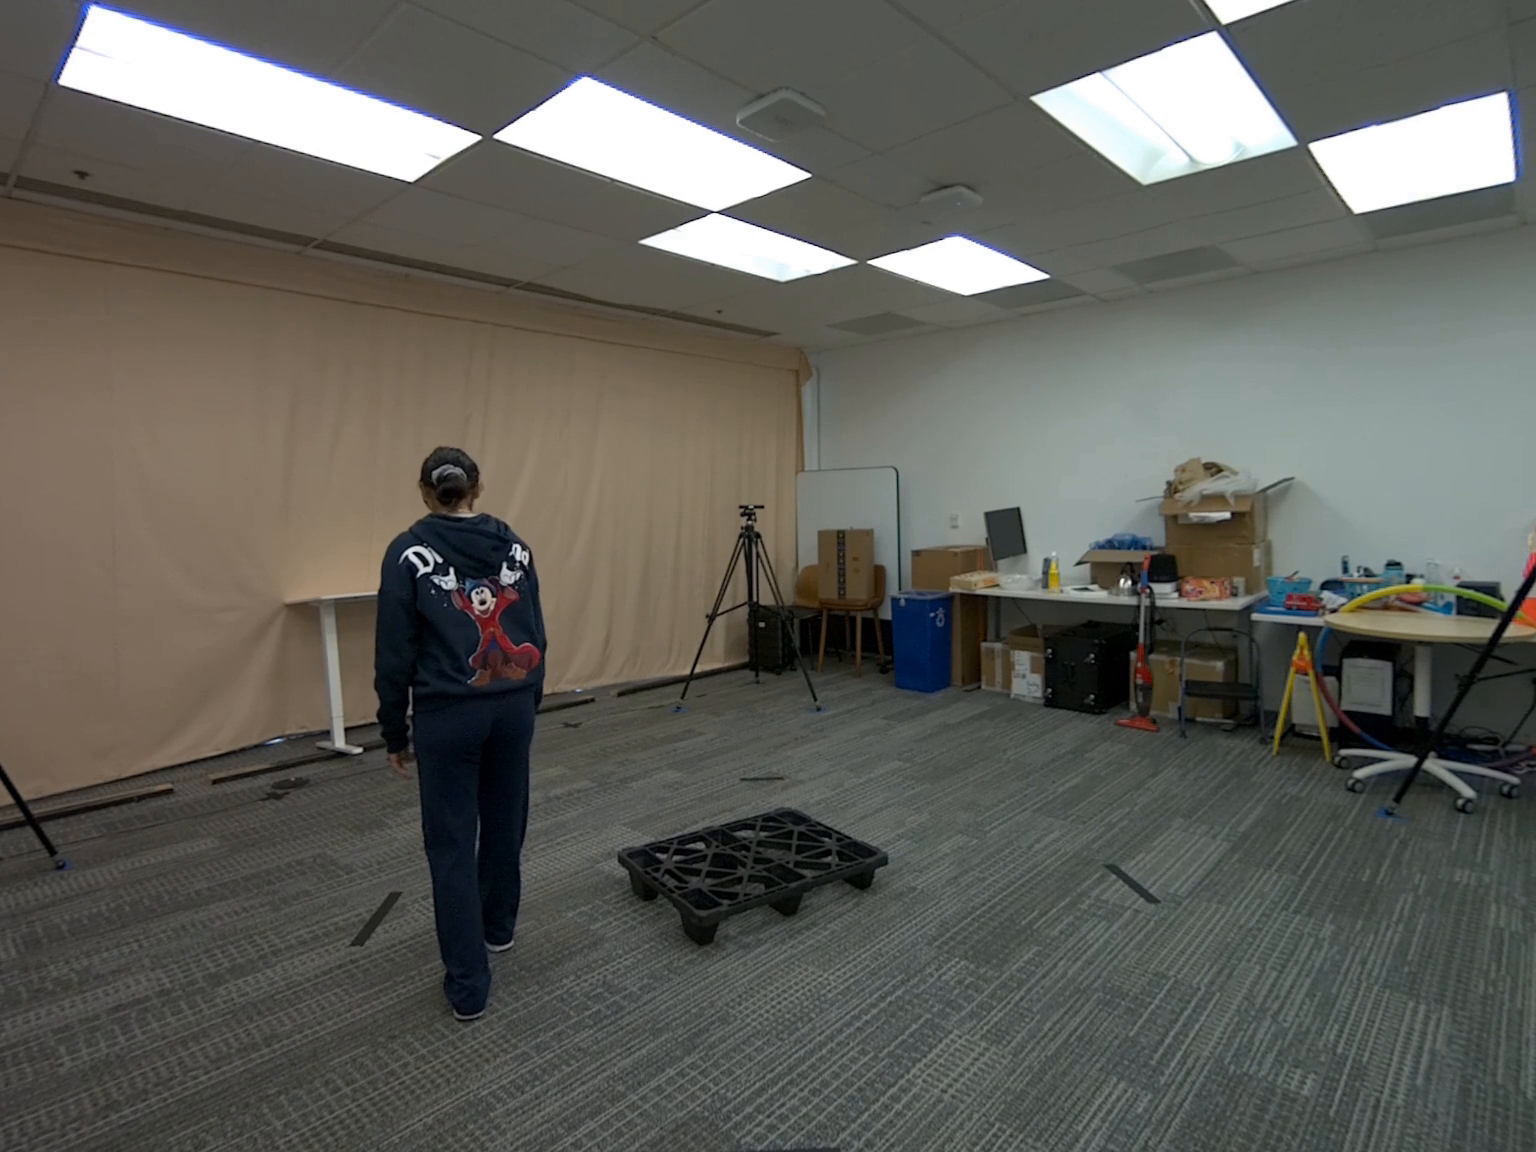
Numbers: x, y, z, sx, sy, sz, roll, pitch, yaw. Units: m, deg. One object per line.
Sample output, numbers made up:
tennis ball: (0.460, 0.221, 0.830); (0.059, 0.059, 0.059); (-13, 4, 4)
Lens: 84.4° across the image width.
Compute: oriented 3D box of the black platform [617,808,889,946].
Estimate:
black platform: (-0.059, 1.070, 3.049); (0.783, 0.143, 0.624); (-4, 5, -34)
